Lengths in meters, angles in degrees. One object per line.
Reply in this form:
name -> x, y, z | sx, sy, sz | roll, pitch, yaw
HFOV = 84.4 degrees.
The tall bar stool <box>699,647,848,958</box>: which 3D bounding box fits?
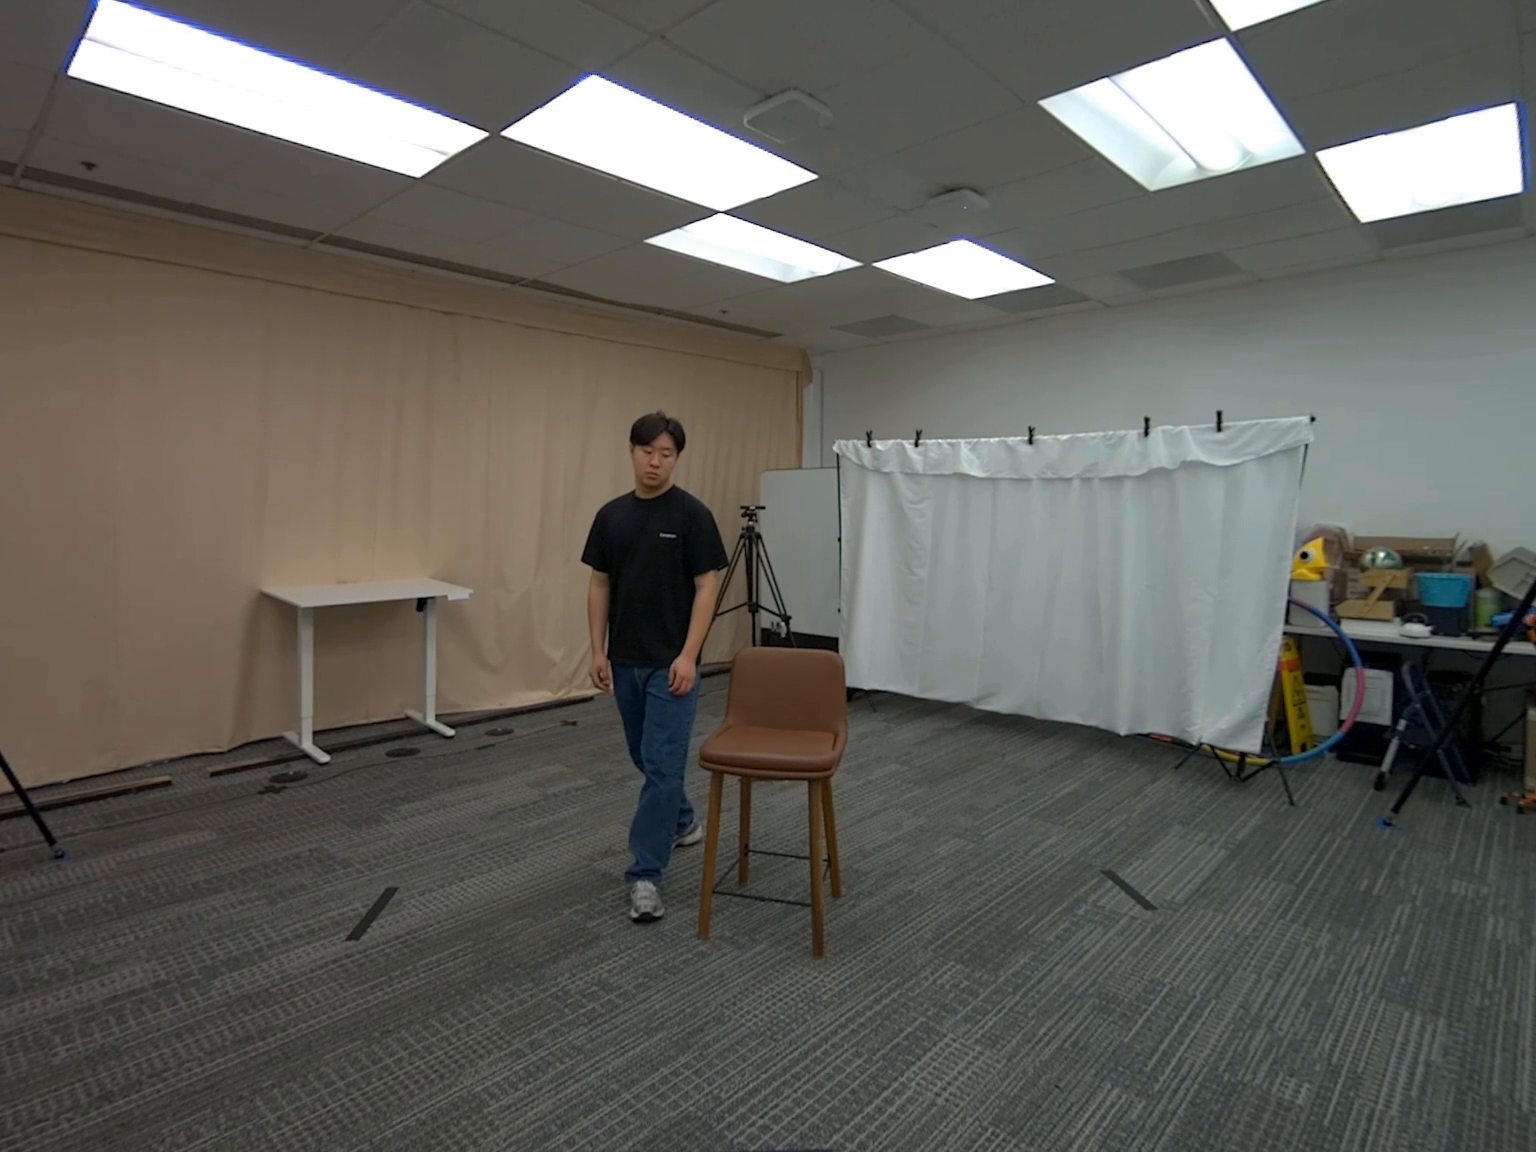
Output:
tall bar stool -> 0.033, 0.723, 2.839 | 0.466, 0.888, 0.459 | 2, 2, 18
